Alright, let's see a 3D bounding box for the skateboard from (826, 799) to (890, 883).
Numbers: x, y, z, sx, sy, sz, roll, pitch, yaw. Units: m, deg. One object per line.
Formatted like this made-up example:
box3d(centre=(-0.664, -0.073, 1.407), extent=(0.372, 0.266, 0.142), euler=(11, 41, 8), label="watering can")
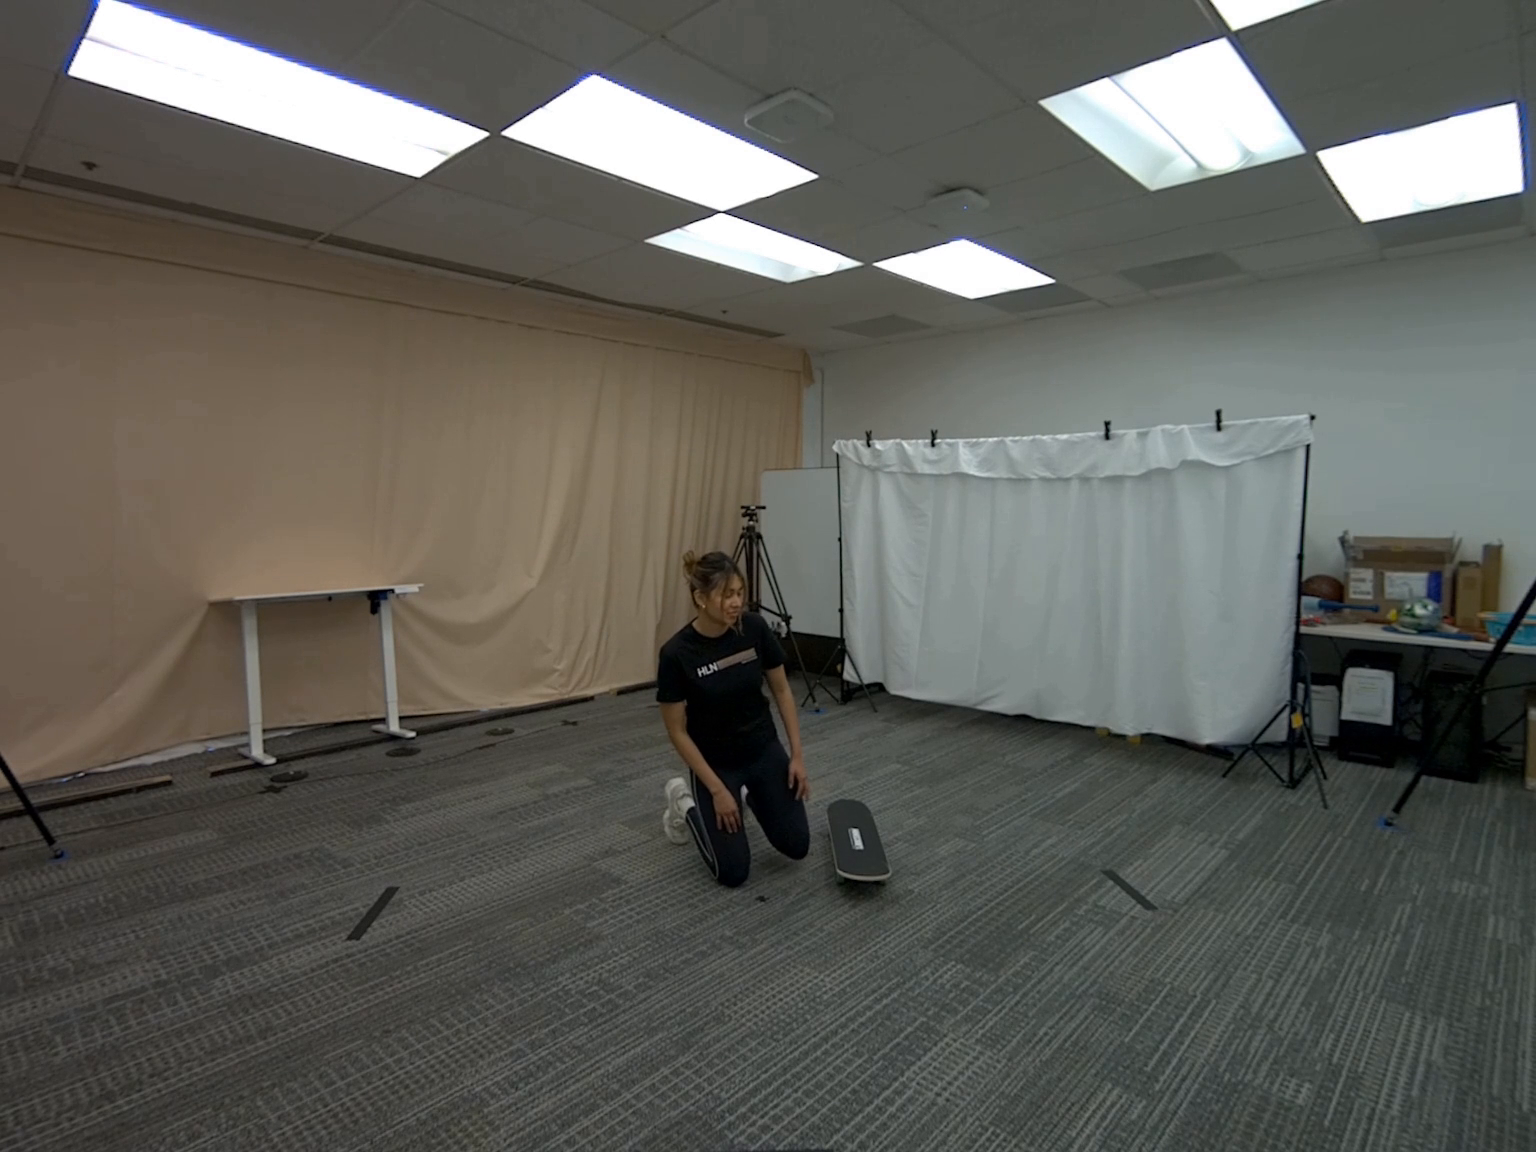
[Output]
box3d(centre=(0.345, 1.055, 3.284), extent=(0.194, 0.110, 0.785), euler=(-1, 5, 1), label="skateboard")
